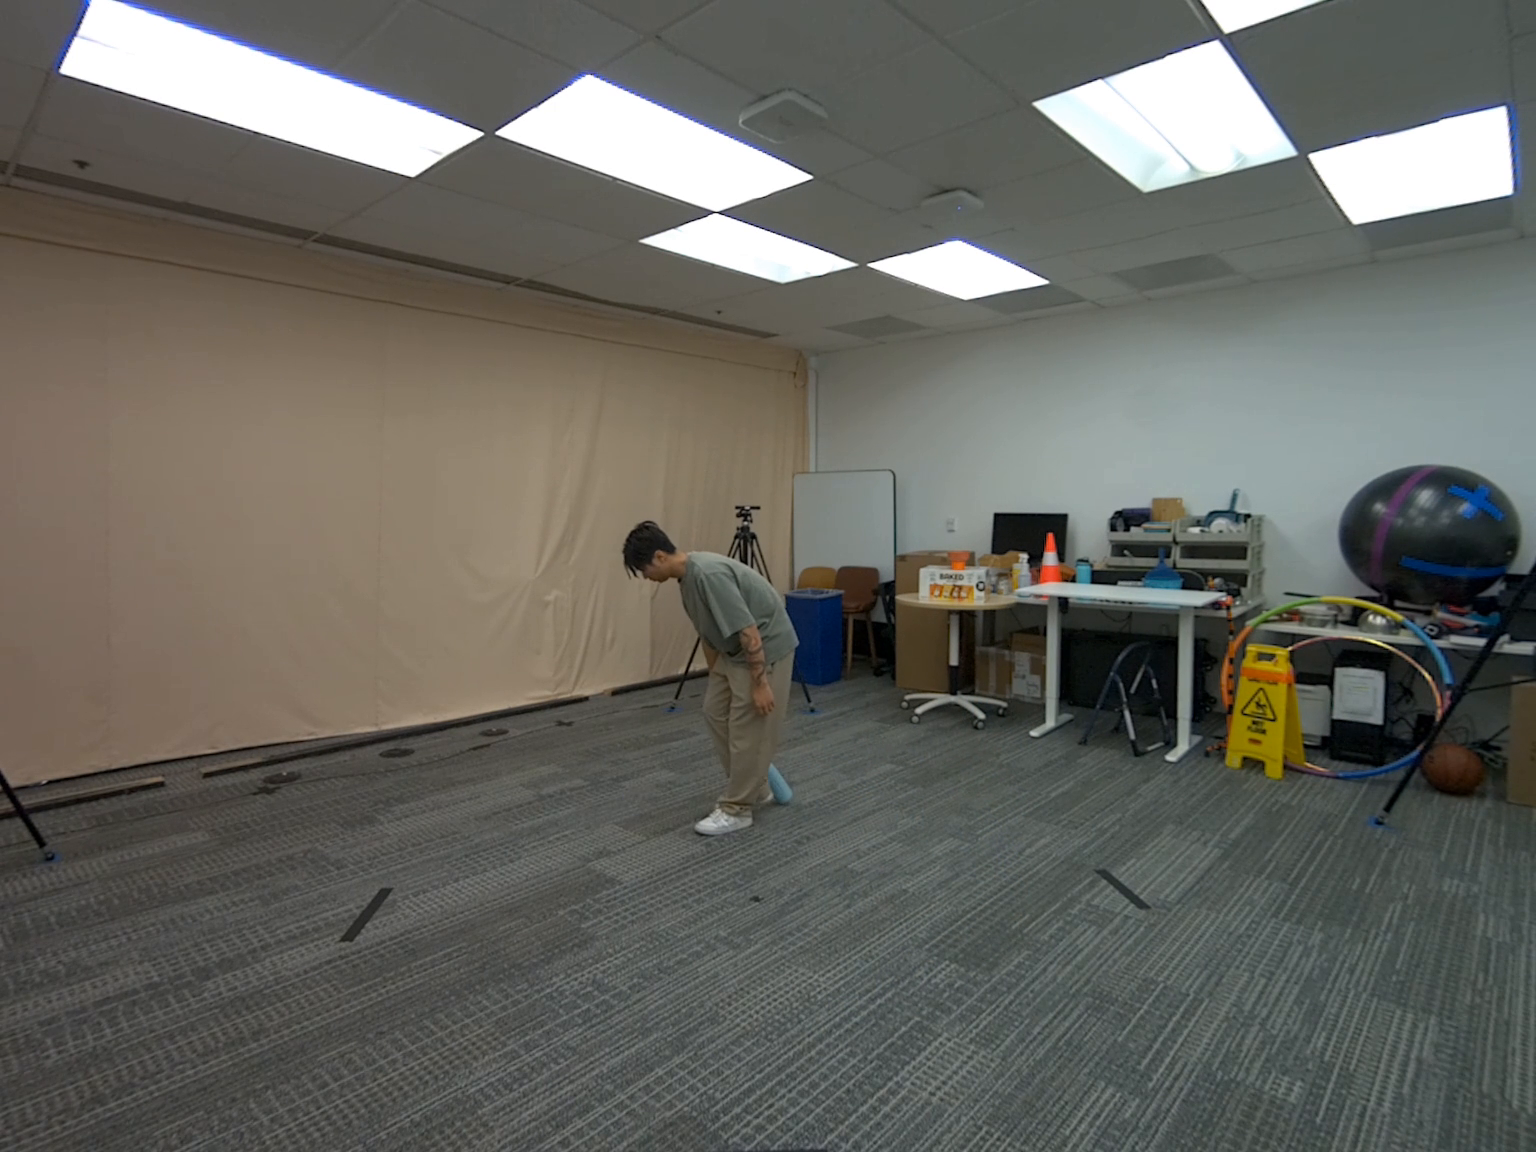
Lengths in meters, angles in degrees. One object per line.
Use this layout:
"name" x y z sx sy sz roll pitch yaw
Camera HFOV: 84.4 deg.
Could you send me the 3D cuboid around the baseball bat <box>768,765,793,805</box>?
"baseball bat" -0.061 0.832 3.933 0.089 0.541 0.089 -36 3 1
